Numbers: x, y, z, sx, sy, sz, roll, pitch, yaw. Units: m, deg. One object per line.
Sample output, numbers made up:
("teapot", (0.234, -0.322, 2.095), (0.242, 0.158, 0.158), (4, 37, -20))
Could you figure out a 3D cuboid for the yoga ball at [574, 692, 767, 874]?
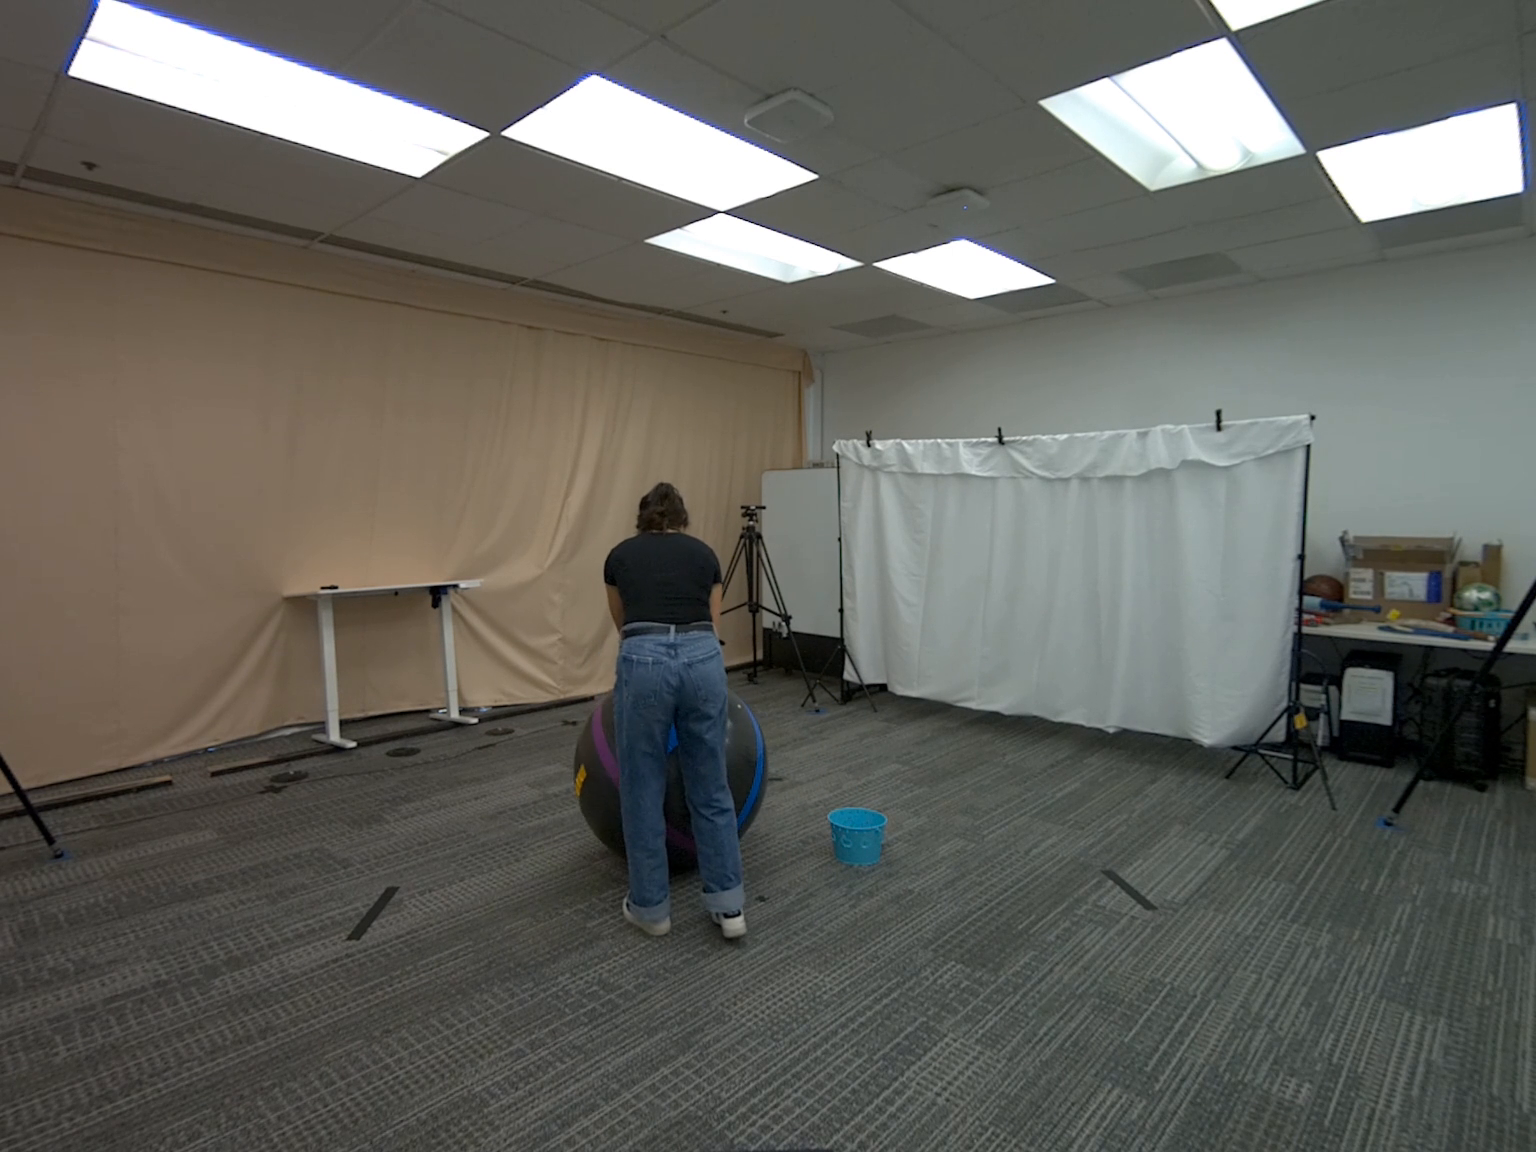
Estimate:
("yoga ball", (-0.369, 0.750, 3.297), (0.757, 0.756, 0.760), (0, 4, -2))
